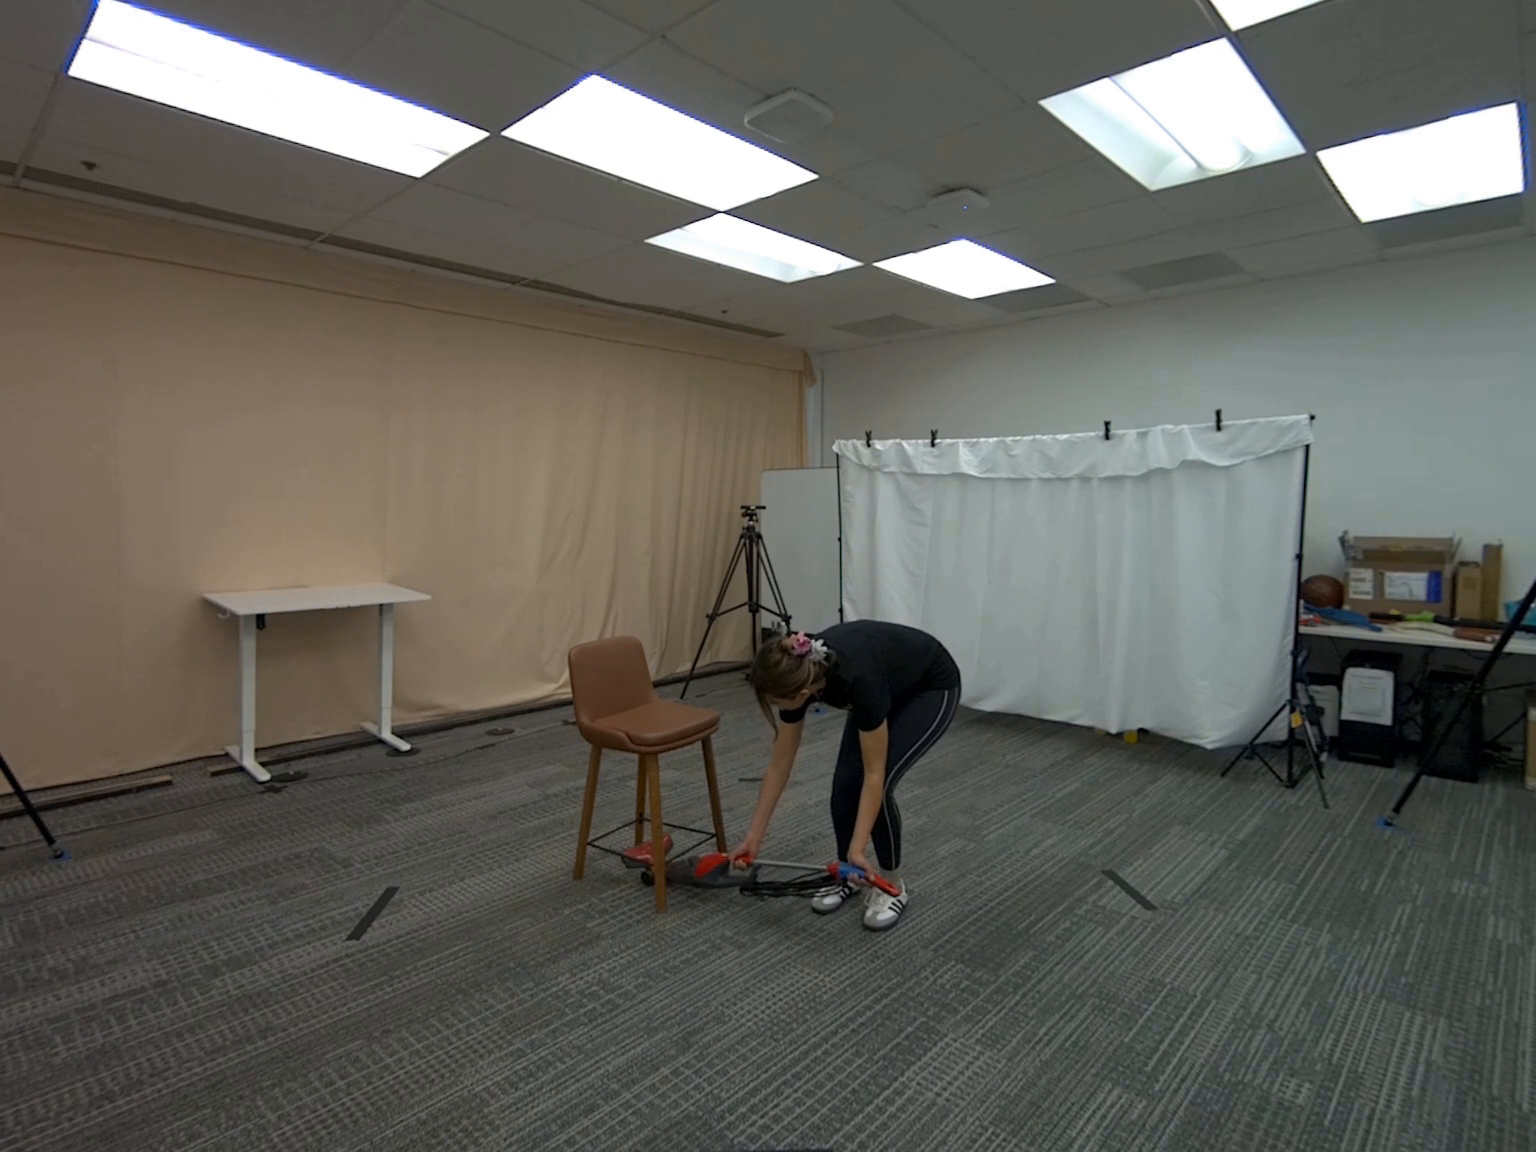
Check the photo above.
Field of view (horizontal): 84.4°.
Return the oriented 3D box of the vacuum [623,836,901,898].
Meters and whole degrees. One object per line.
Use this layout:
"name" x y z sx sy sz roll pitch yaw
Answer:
"vacuum" -0.023 1.019 2.816 1.079 0.144 0.244 -8 -5 38
